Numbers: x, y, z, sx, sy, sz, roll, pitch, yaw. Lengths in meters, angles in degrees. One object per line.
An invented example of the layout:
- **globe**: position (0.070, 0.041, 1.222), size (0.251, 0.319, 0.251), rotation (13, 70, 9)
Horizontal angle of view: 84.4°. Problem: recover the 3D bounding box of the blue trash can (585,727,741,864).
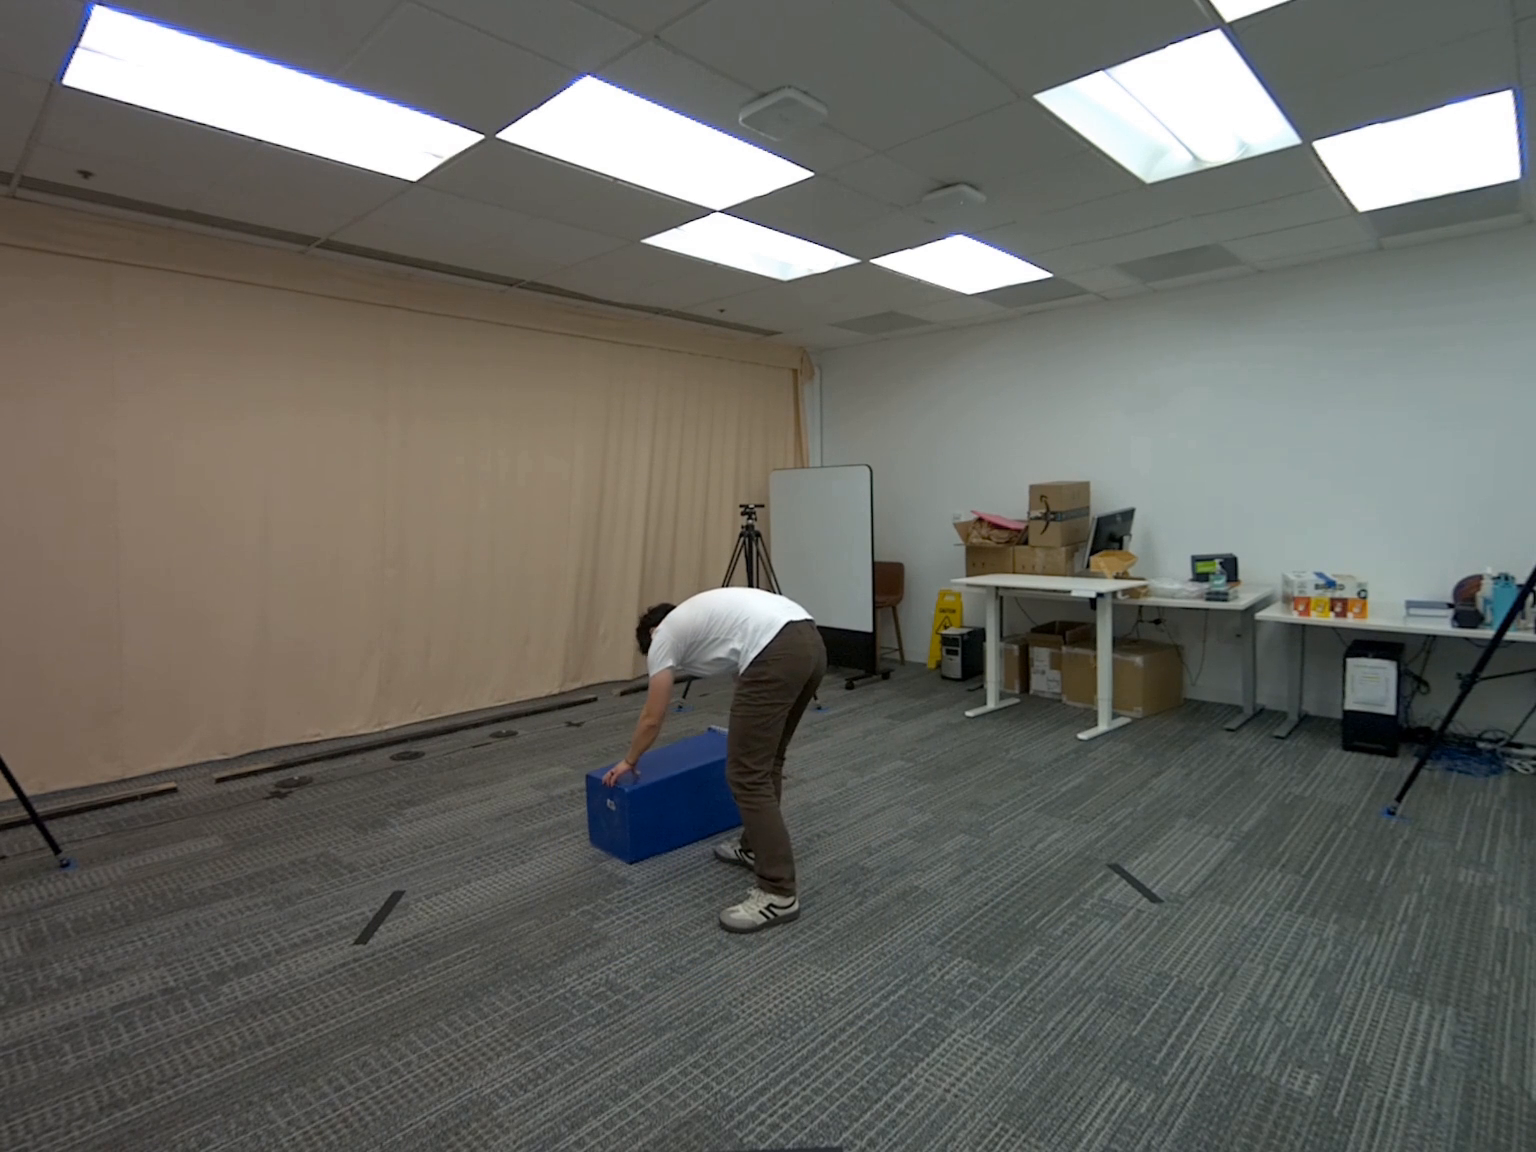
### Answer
- **blue trash can**: position (-0.402, 0.927, 3.604), size (0.693, 0.376, 0.386), rotation (-7, 8, -41)
